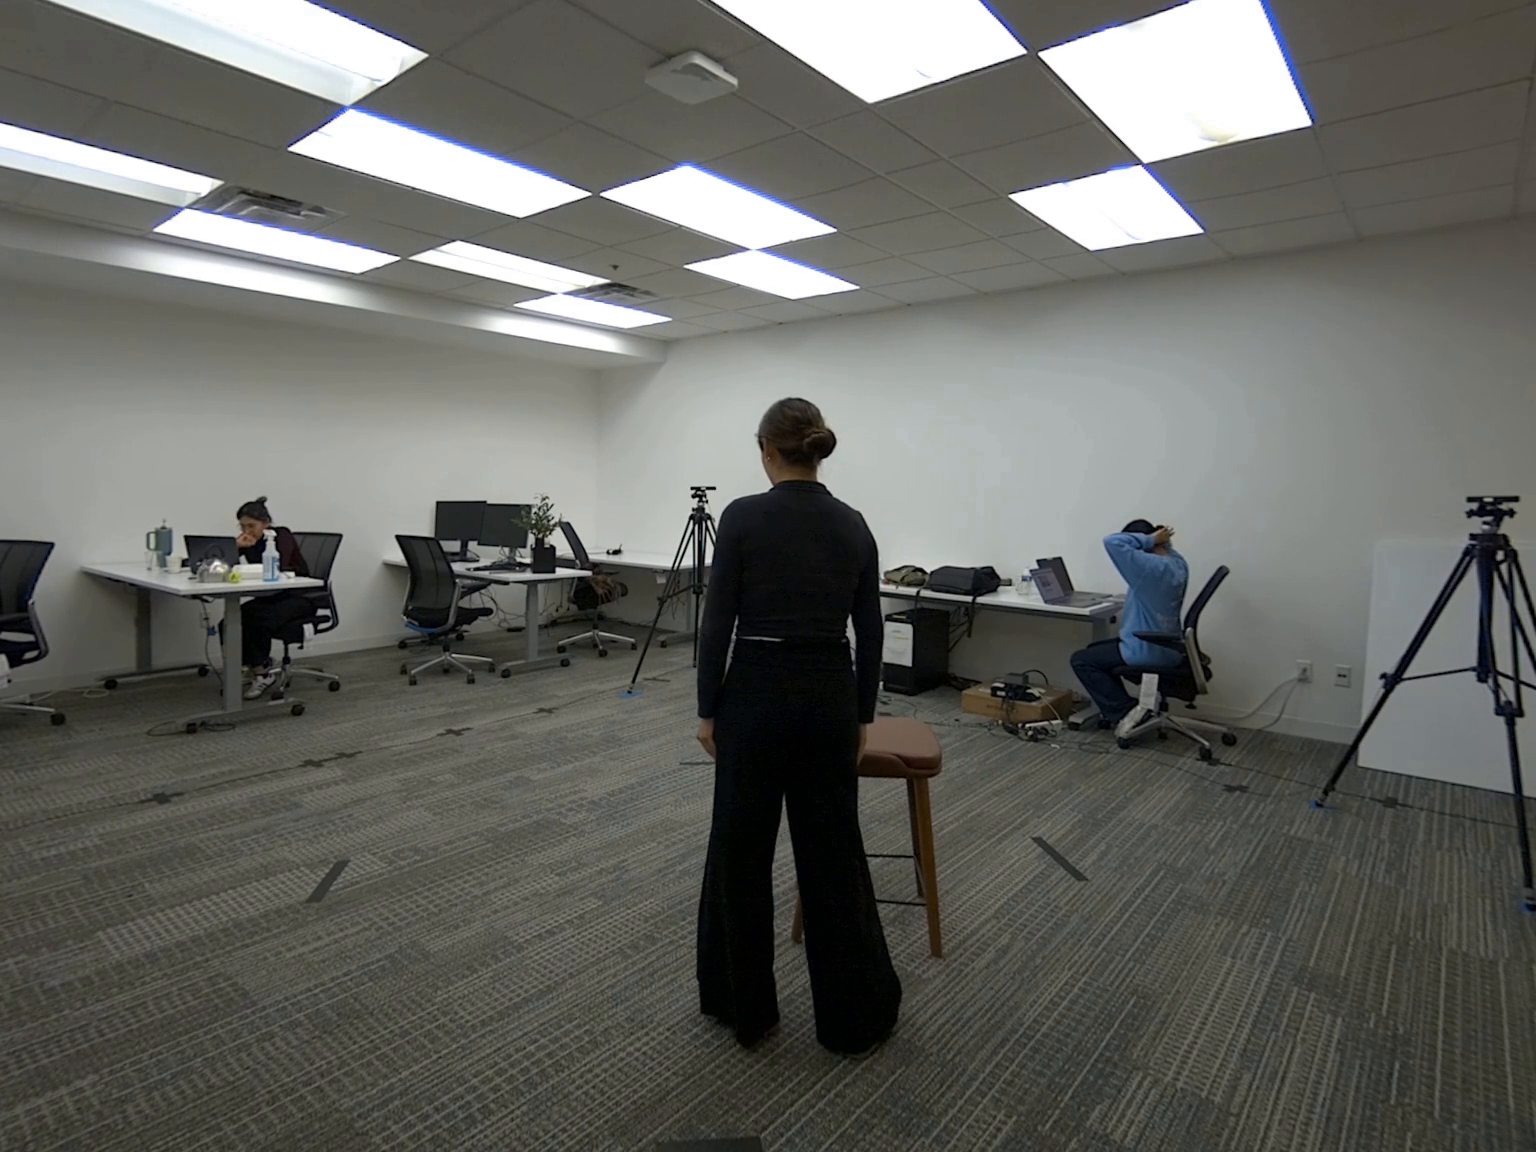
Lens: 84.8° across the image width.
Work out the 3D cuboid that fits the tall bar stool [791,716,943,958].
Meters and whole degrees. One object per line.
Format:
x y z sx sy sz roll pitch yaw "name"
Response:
0.311 0.678 2.744 0.471 0.887 0.454 1 3 6 "tall bar stool"
